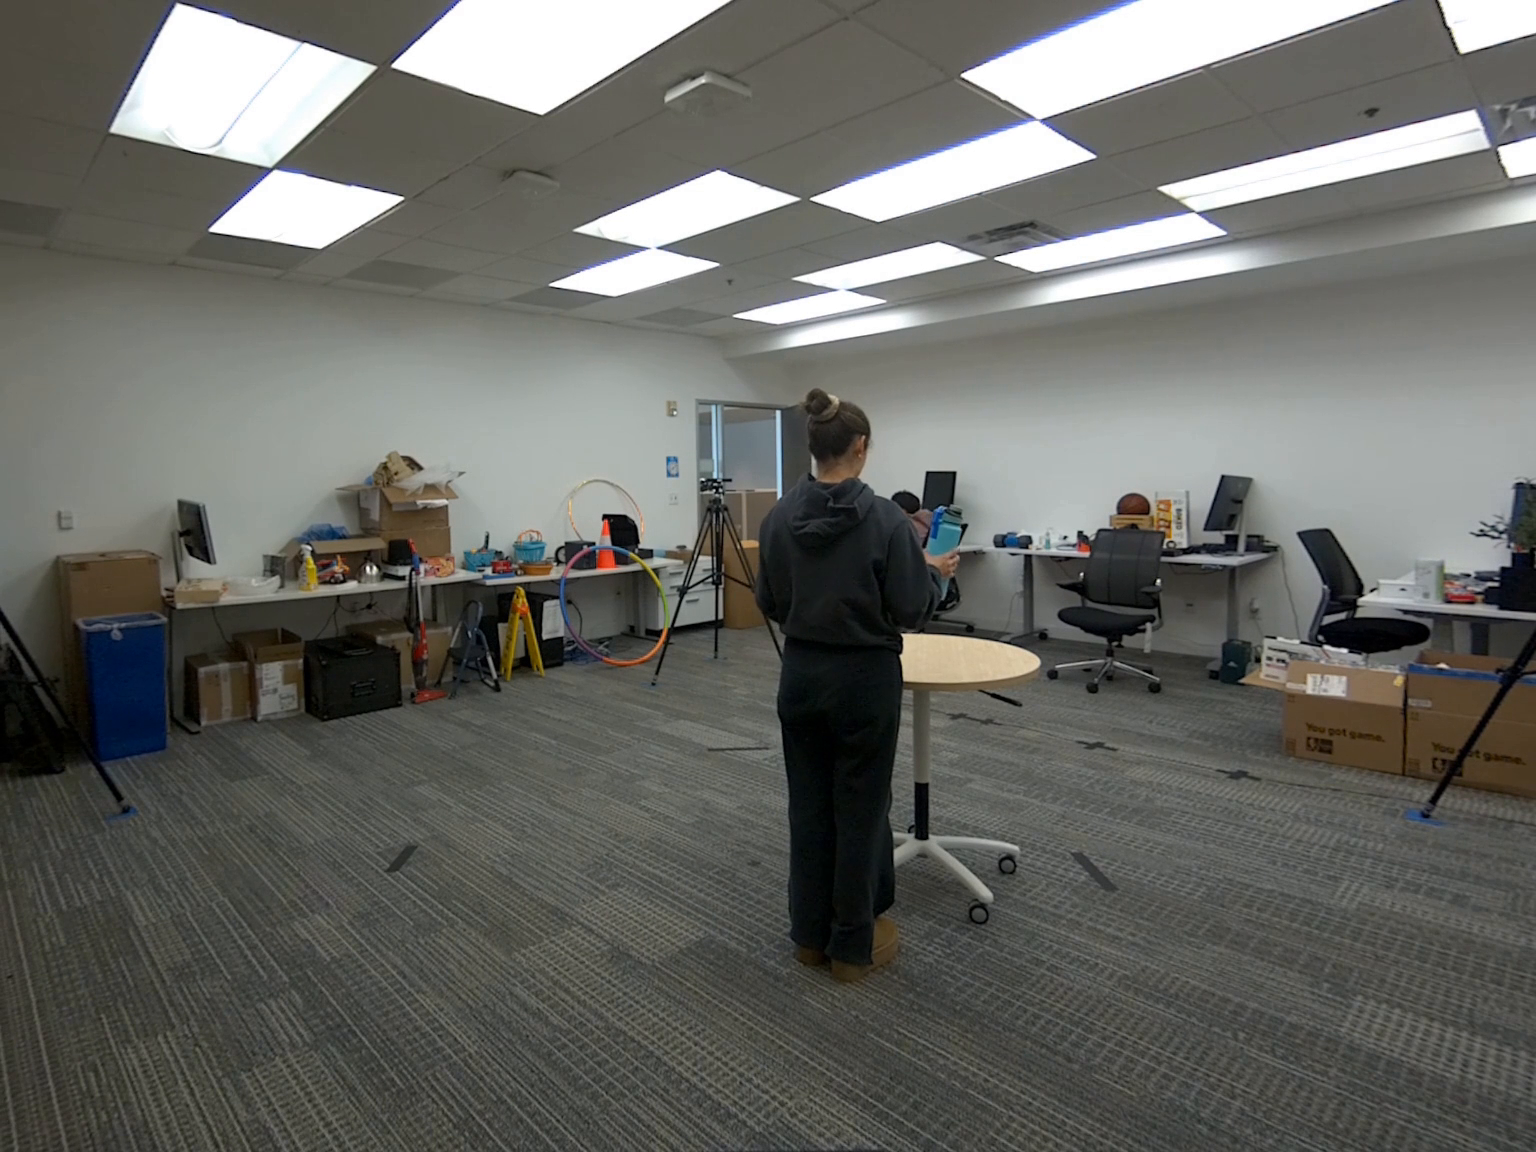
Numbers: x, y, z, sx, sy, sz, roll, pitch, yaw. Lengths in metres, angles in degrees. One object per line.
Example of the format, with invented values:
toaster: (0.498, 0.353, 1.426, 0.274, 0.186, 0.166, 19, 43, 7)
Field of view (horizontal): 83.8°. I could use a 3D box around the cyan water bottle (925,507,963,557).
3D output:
cyan water bottle: (0.514, -0.085, 2.572, 0.092, 0.282, 0.093, 10, 6, -3)
